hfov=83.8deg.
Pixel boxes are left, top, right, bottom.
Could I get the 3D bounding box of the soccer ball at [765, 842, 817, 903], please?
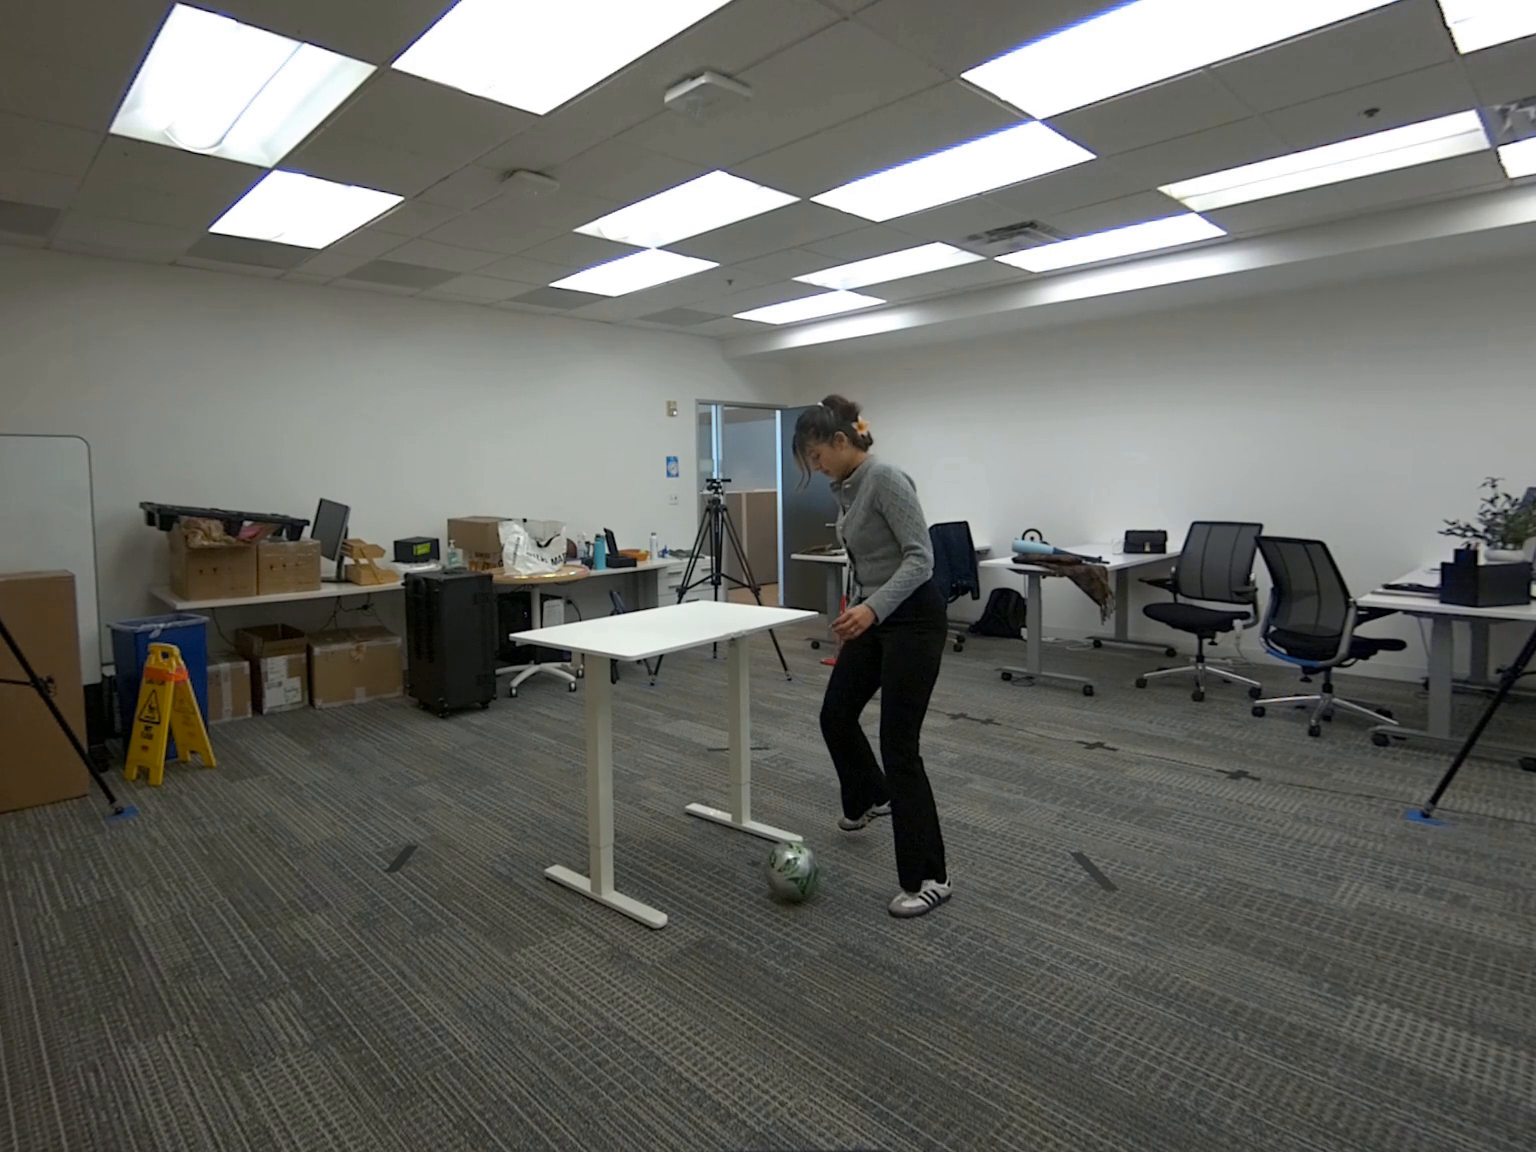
[{"bbox_3d":[0.086,0.974,2.832,0.187,0.187,0.188,-1,5,-2],"label":"soccer ball"}]
